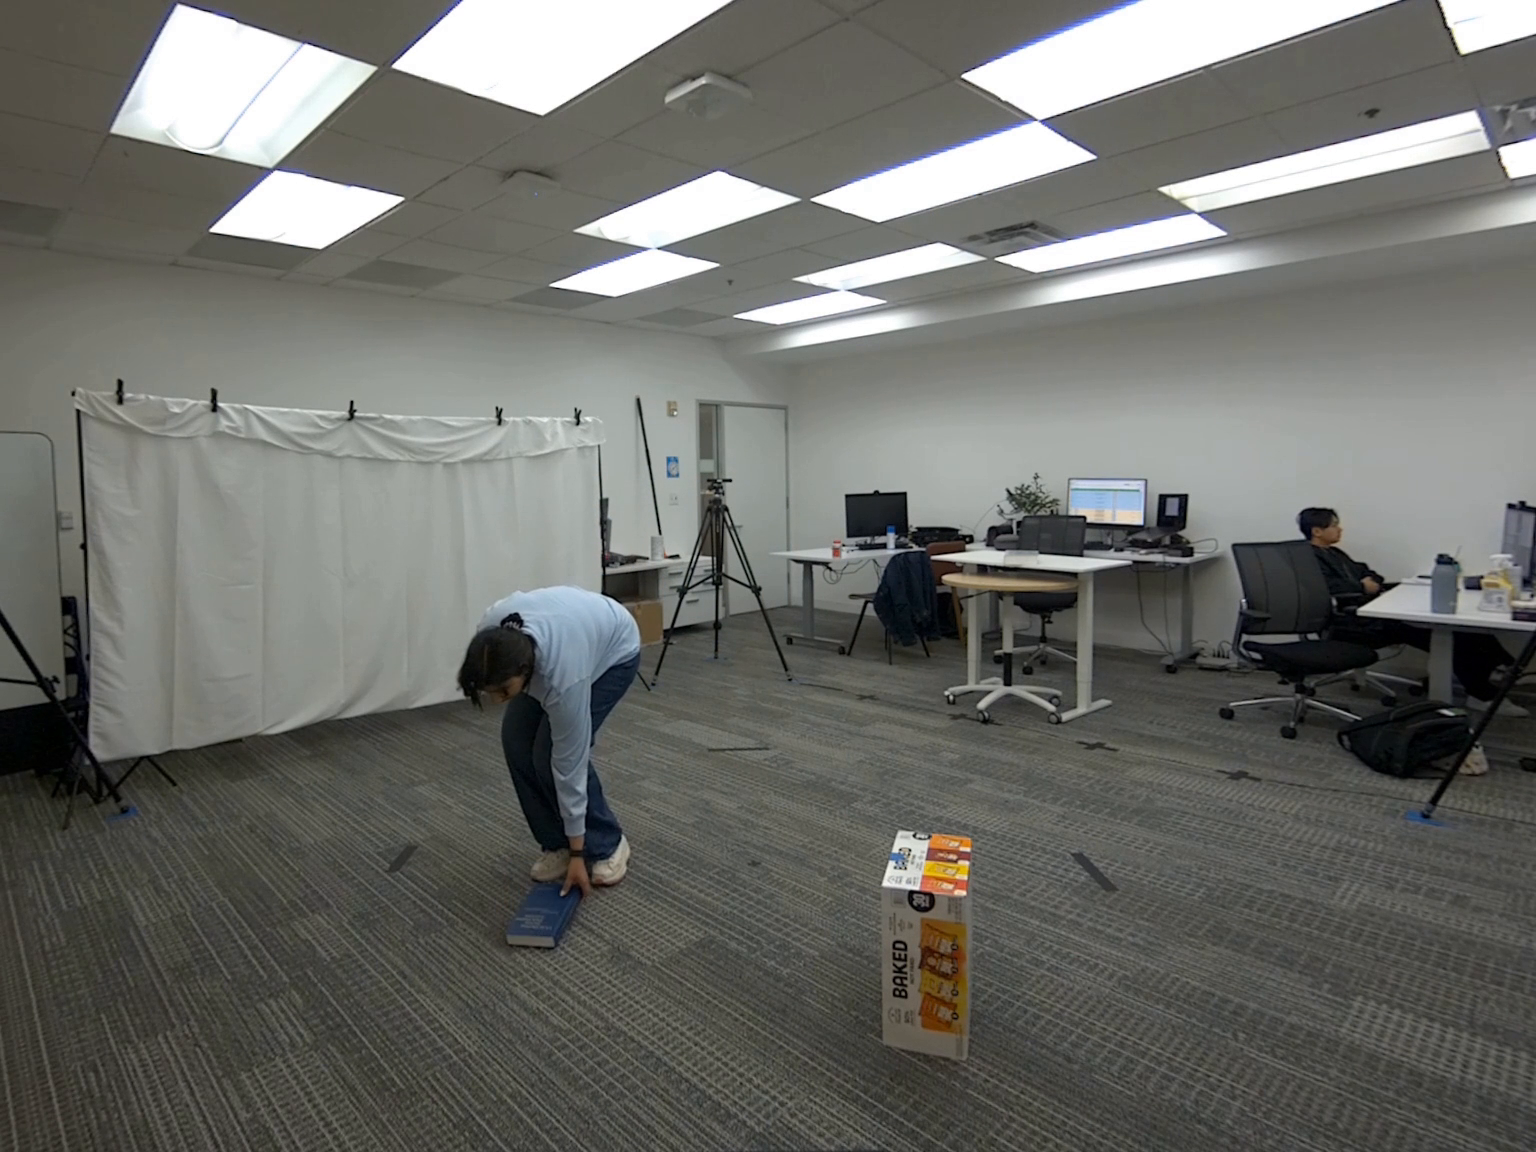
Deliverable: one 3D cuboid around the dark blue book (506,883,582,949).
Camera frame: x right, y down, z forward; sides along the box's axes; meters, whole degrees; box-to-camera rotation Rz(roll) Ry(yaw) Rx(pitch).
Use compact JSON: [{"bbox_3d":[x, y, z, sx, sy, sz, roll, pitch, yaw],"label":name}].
[{"bbox_3d":[-0.708,1.067,2.679,0.165,0.044,0.246,-3,14,7],"label":"dark blue book"}]
